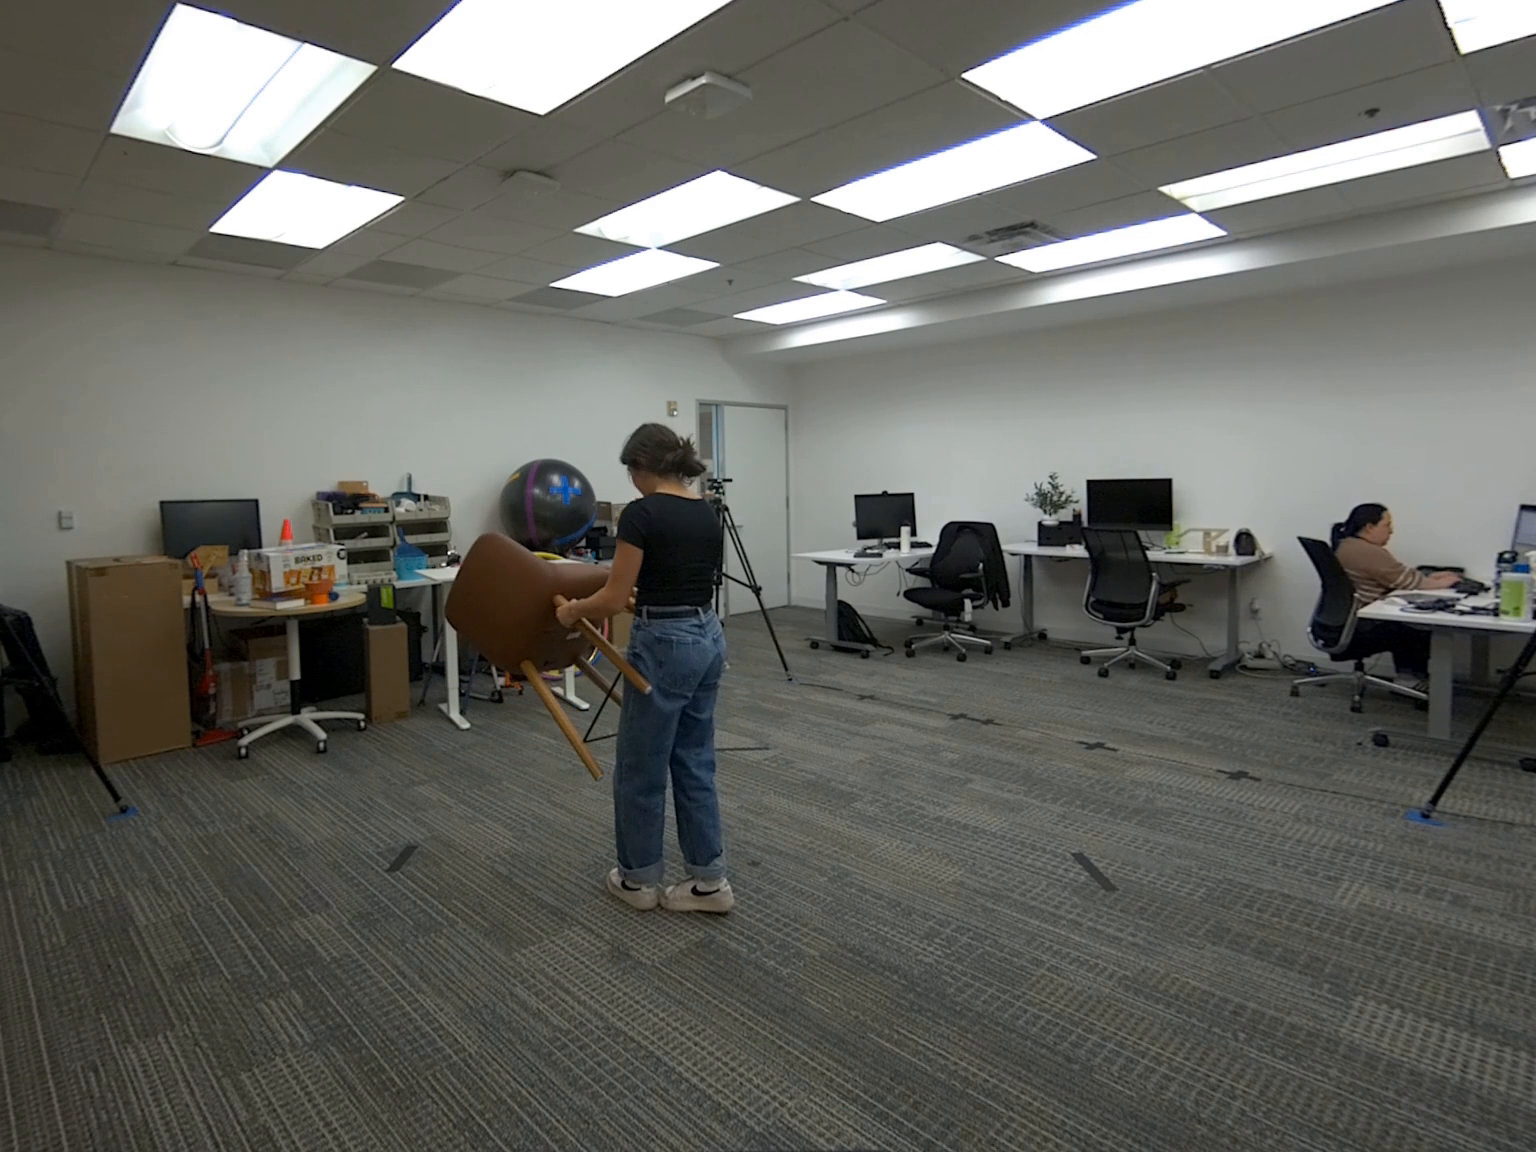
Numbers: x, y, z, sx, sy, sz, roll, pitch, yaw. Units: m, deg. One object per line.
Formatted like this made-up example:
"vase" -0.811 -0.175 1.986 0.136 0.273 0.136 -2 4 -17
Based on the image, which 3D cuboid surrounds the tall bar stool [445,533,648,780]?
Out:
"tall bar stool" -0.655 0.244 2.993 0.916 0.454 0.457 36 20 24
